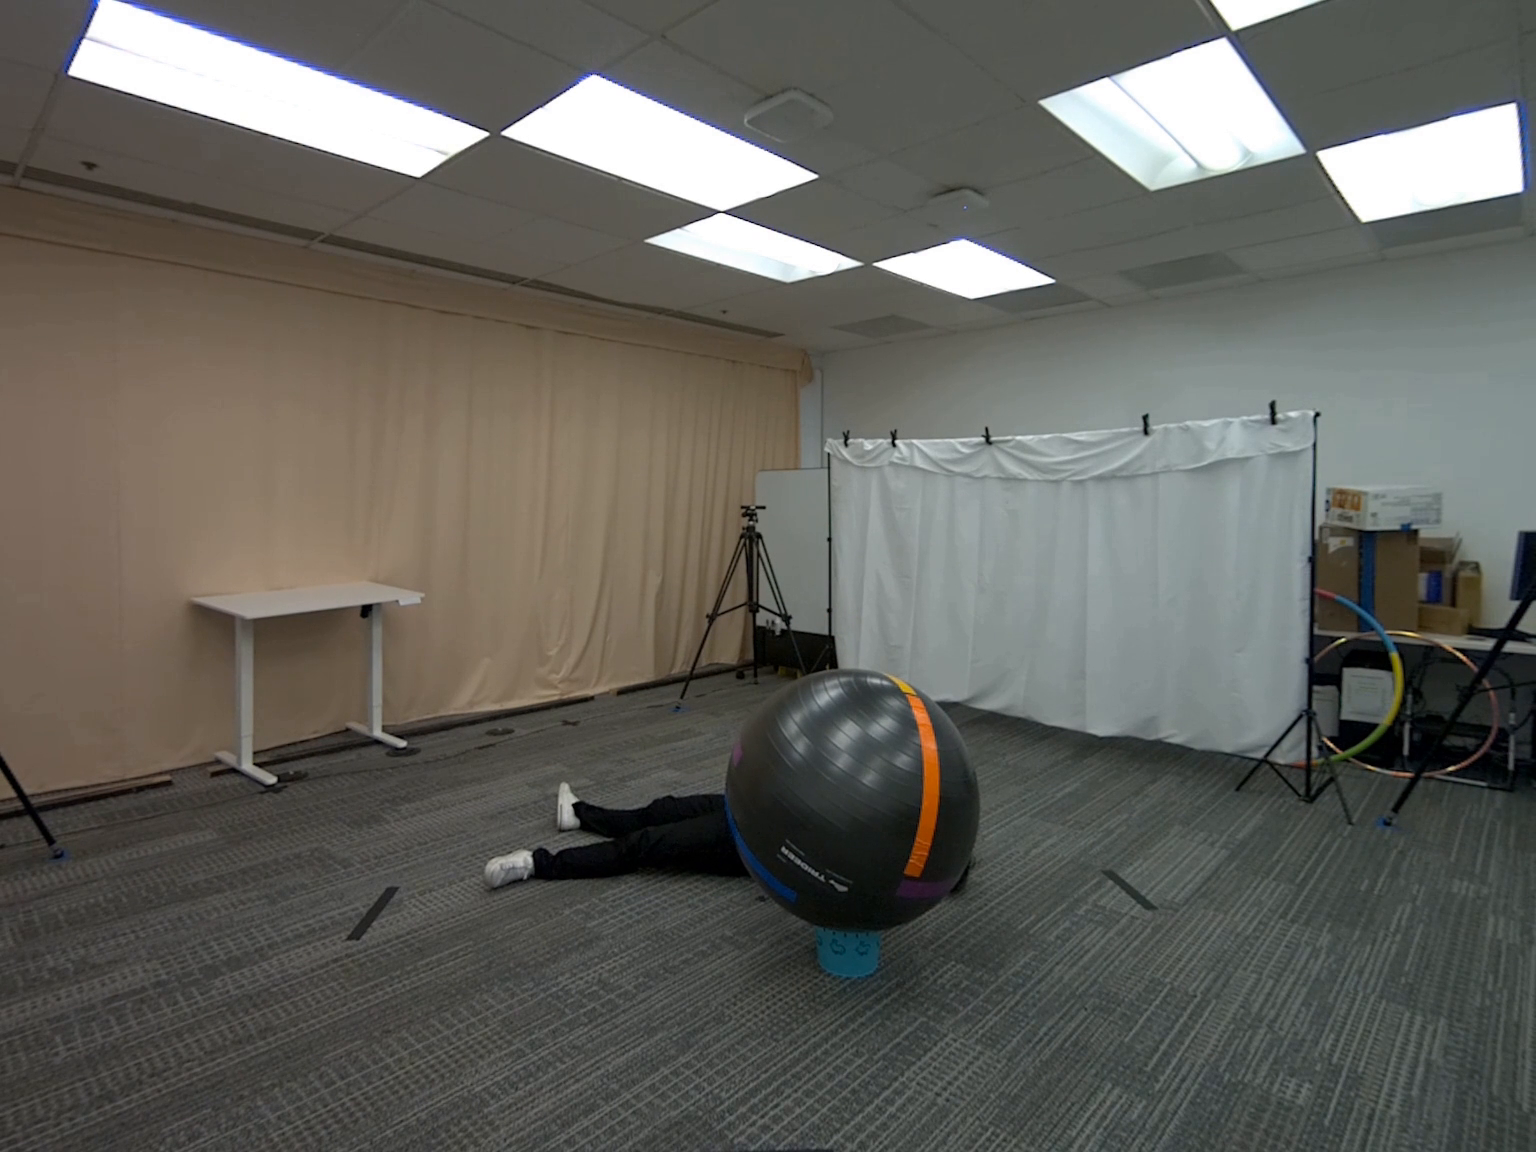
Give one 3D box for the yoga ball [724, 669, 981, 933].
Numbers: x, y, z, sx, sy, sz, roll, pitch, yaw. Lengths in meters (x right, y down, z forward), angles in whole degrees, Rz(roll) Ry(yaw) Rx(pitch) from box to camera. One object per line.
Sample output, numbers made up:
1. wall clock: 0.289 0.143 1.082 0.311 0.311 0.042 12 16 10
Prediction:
1. yoga ball: 0.261 0.670 2.552 0.757 0.756 0.760 0 4 -2
